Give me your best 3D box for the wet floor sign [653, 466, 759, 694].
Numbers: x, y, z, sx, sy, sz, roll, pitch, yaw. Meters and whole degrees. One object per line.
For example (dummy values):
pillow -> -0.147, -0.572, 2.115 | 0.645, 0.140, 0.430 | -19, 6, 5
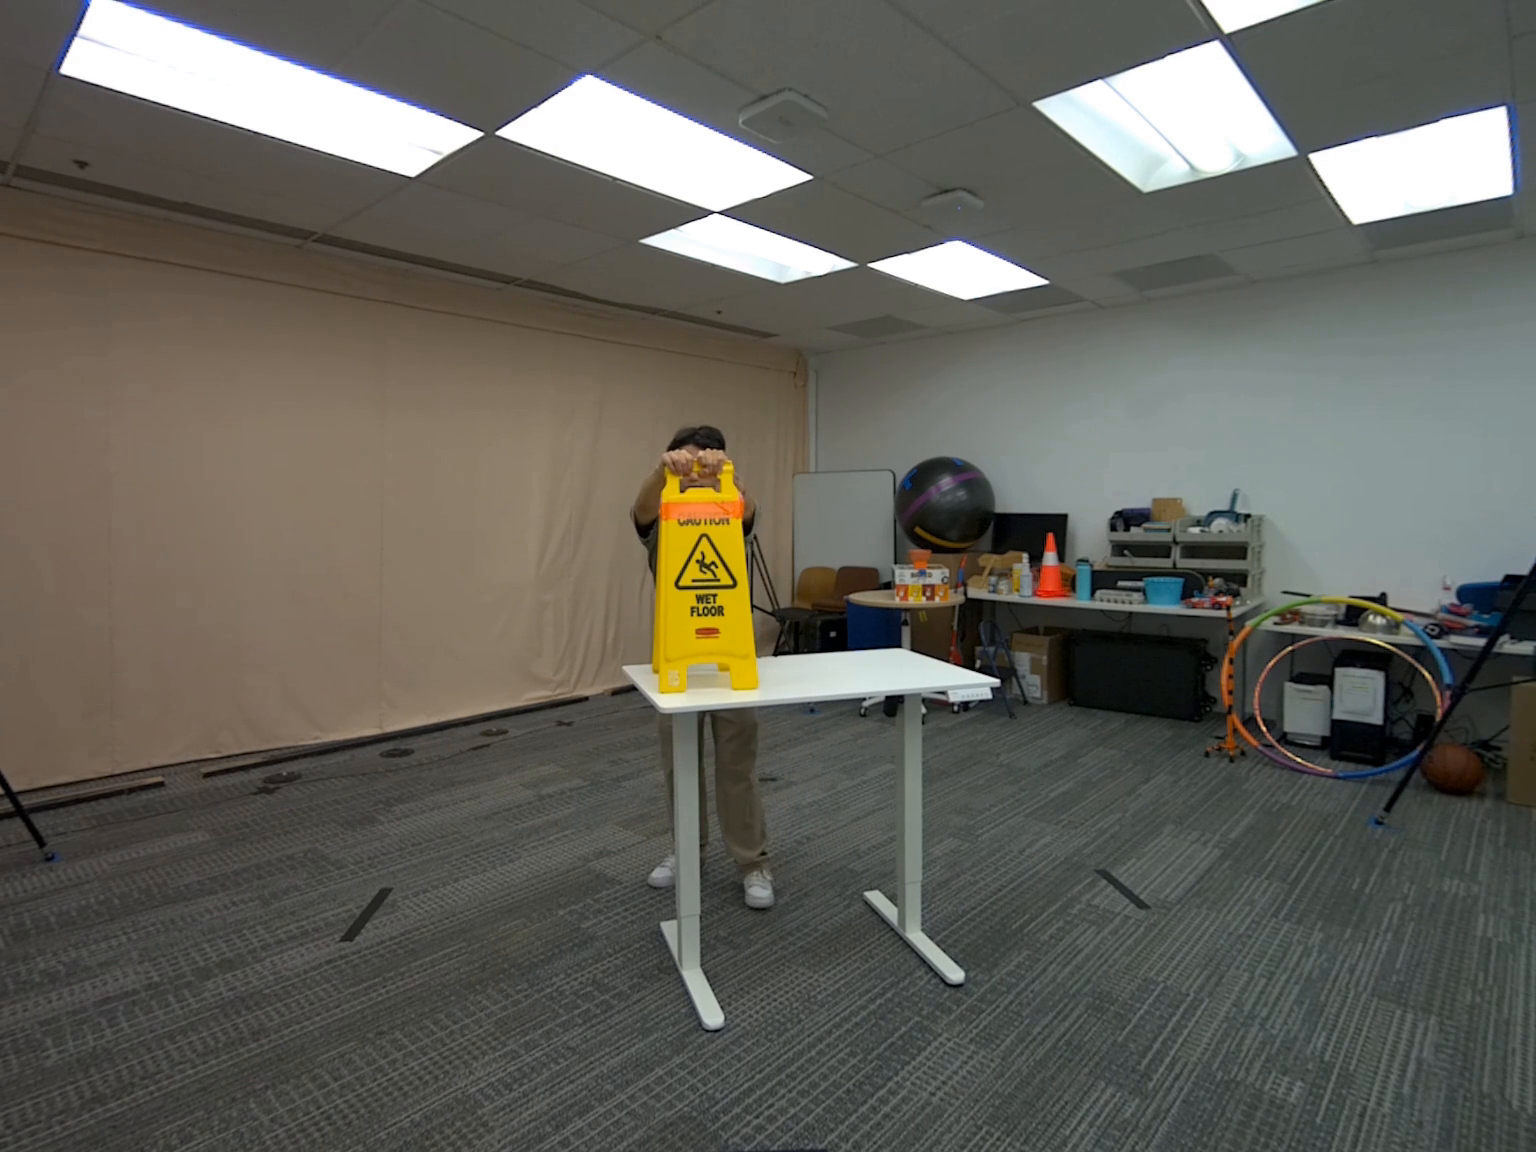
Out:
wet floor sign -> -0.199, -0.010, 2.453 | 0.279, 0.644, 0.293 | -2, 4, -10
